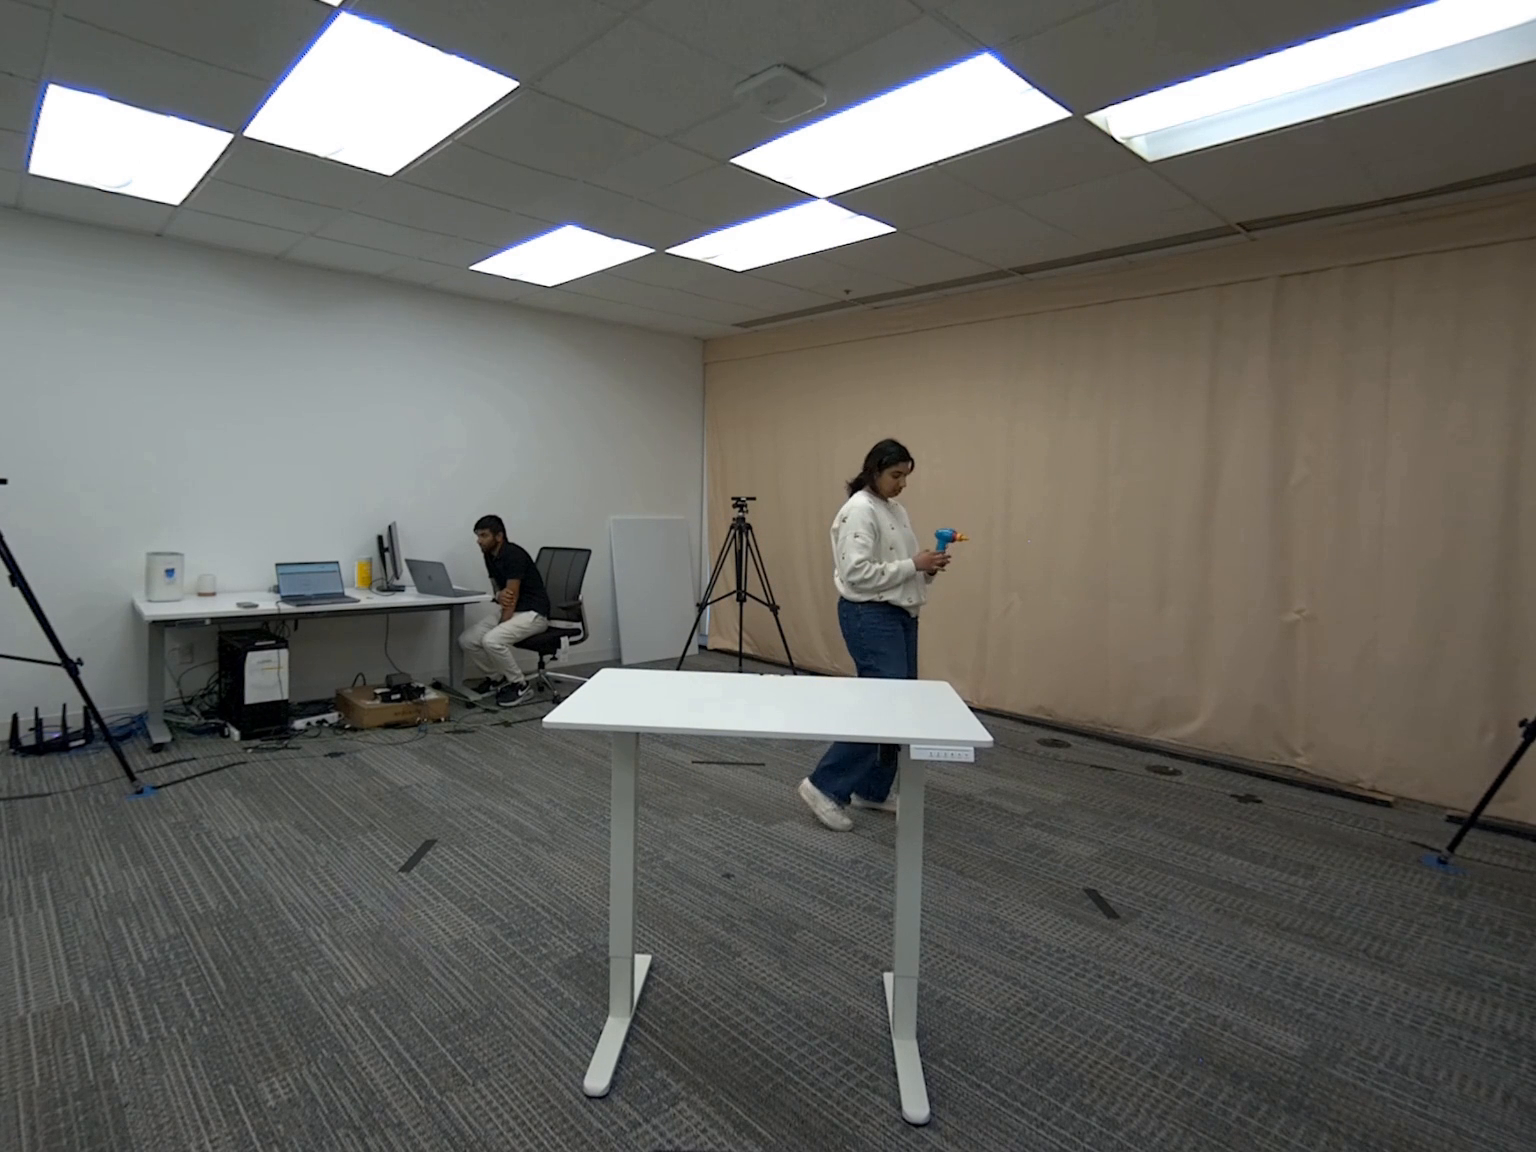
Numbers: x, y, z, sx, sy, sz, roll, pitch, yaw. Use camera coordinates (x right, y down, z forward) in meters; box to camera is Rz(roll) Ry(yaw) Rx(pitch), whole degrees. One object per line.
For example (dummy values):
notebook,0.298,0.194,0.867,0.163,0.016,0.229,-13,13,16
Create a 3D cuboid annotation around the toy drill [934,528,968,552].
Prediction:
toy drill,0.764,-0.134,3.625,0.174,0.146,0.059,13,-2,41
